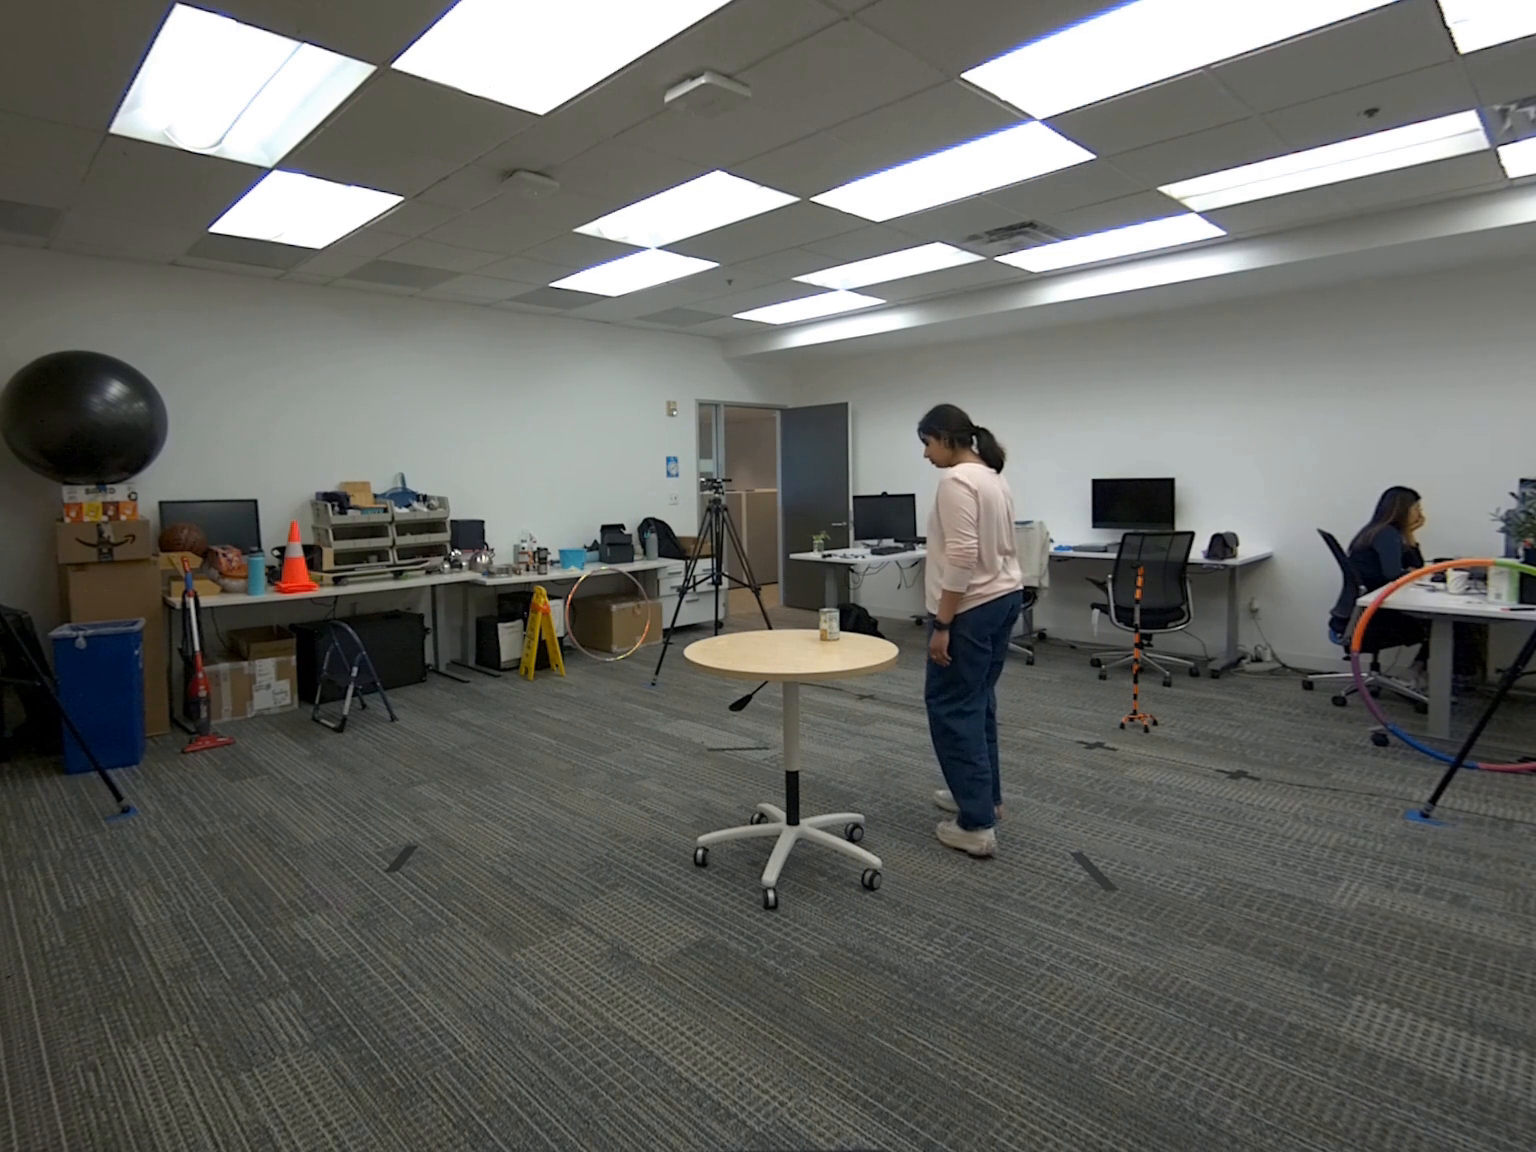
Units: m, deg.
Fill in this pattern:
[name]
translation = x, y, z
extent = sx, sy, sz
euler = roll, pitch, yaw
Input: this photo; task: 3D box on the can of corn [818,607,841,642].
[can of corn]
translation = 0.236, 0.184, 3.228
extent = 0.074, 0.110, 0.074
euler = 0, 5, -2
